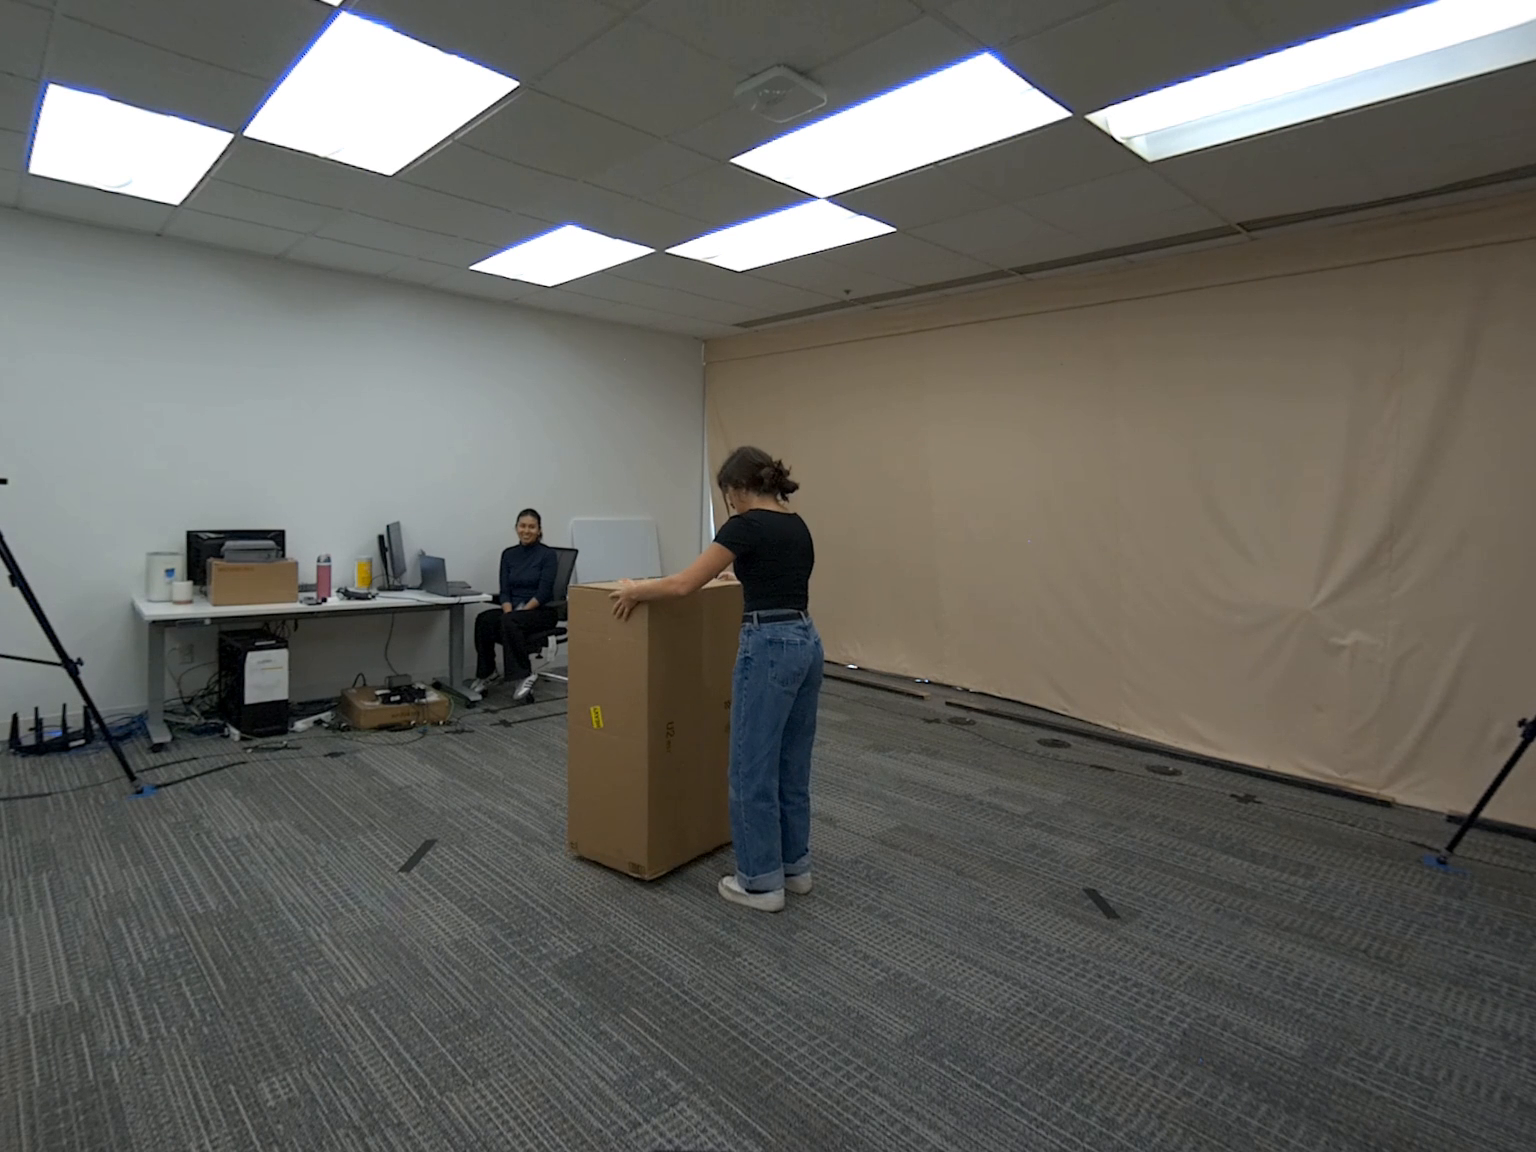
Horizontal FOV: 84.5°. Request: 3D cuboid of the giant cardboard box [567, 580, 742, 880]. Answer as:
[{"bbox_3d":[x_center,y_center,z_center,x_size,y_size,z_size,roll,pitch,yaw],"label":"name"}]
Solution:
[{"bbox_3d":[-0.434,0.537,3.295,0.436,1.023,0.565,4,4,37],"label":"giant cardboard box"}]
